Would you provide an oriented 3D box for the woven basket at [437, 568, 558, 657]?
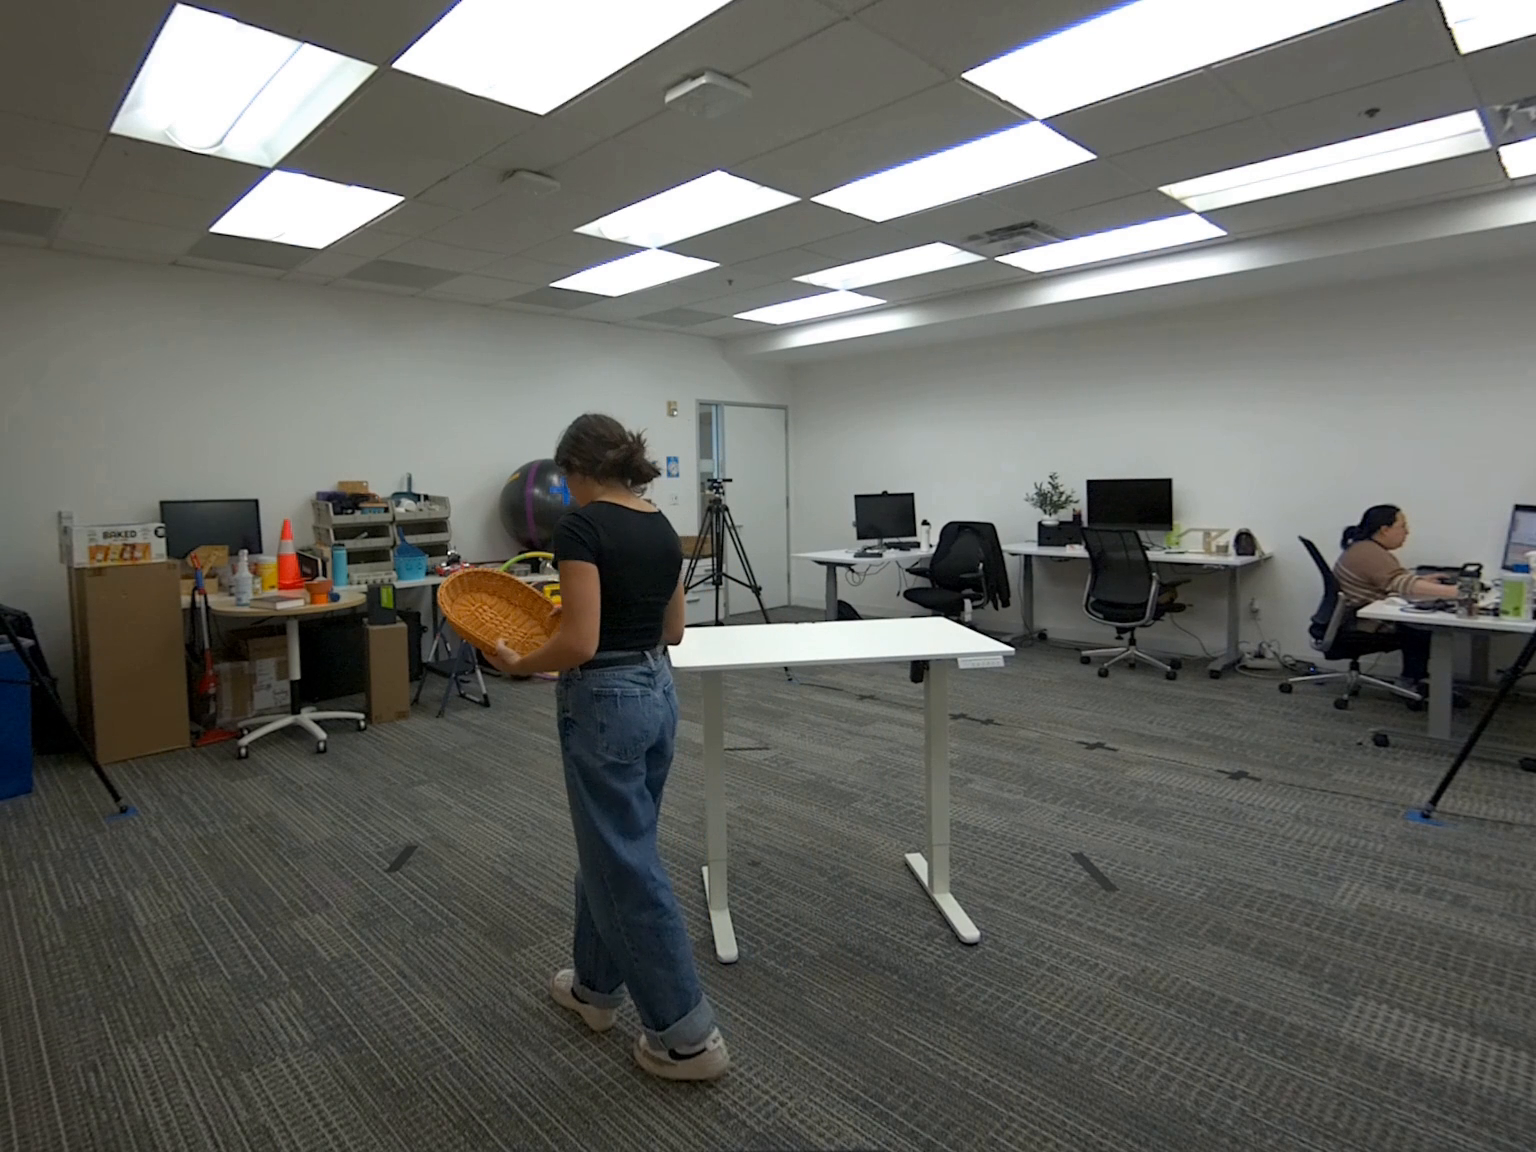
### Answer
[{"bbox_3d":[-0.670,0.113,2.171,0.353,0.072,0.253,28,34,5],"label":"woven basket"}]
